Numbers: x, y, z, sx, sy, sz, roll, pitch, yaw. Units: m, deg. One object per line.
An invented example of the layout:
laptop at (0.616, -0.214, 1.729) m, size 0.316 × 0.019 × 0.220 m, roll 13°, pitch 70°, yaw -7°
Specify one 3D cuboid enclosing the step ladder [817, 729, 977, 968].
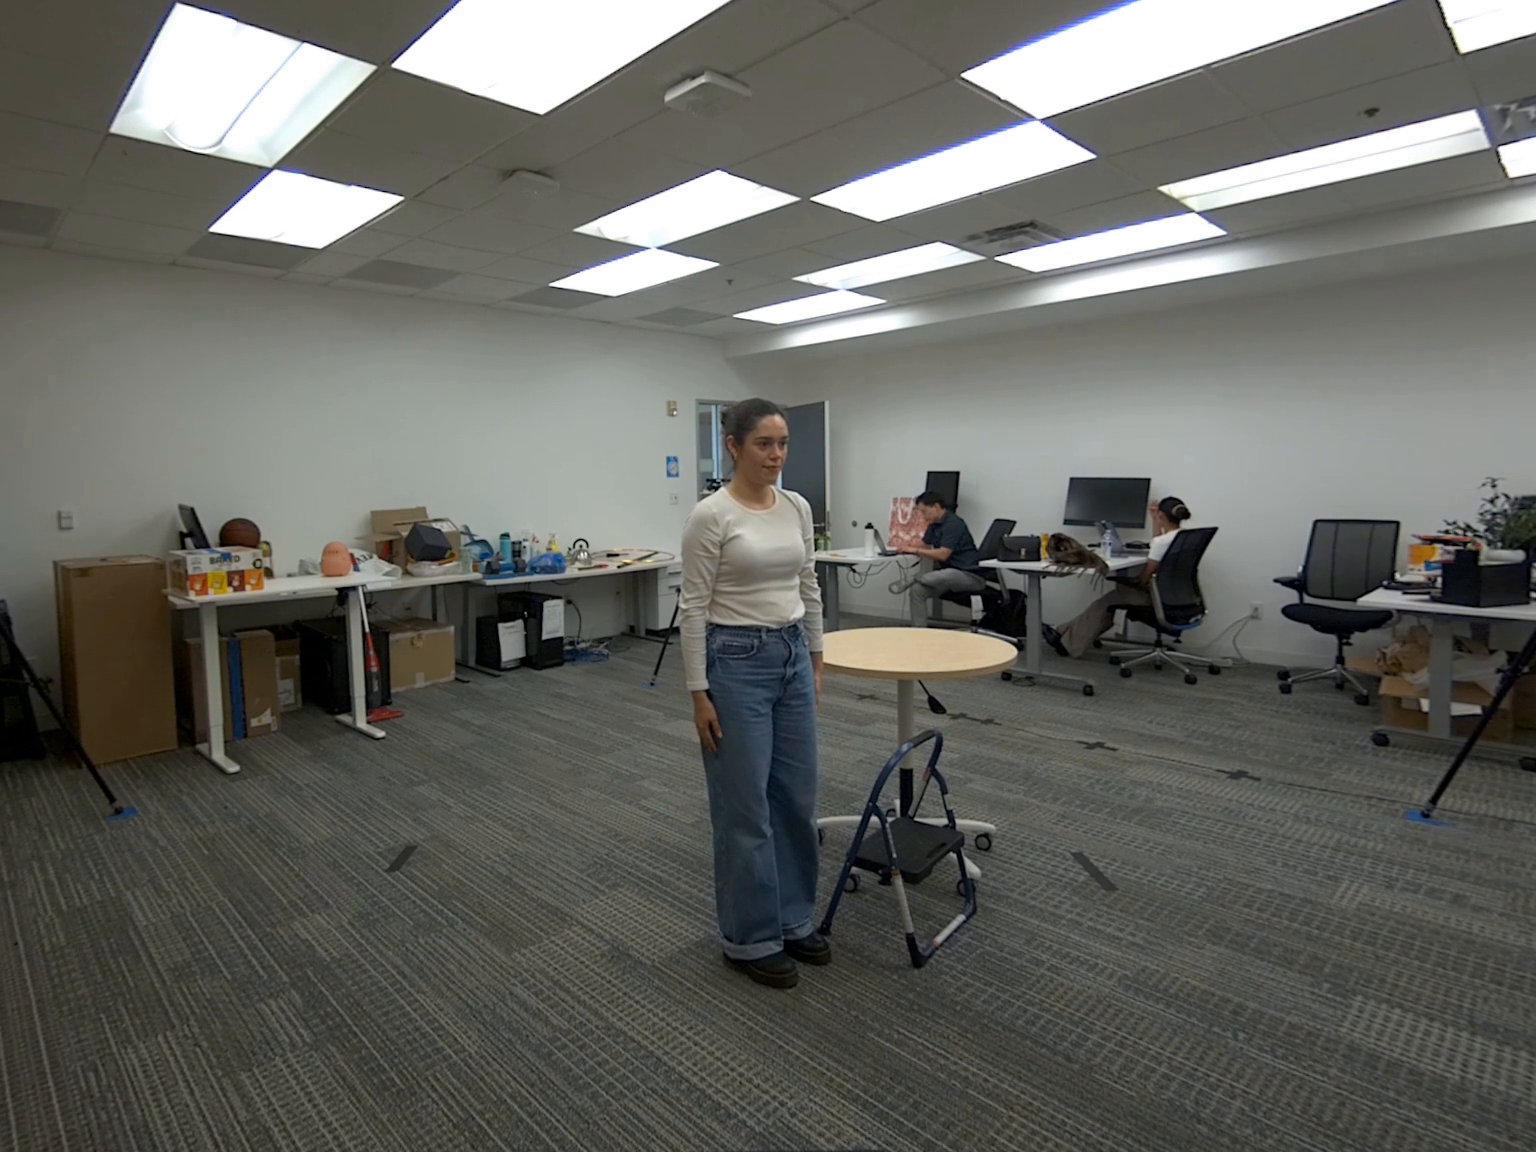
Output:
step ladder at (0.406, 0.781, 2.662) m, size 0.359 × 0.604 × 0.420 m, roll 2°, pitch 6°, yaw 37°
